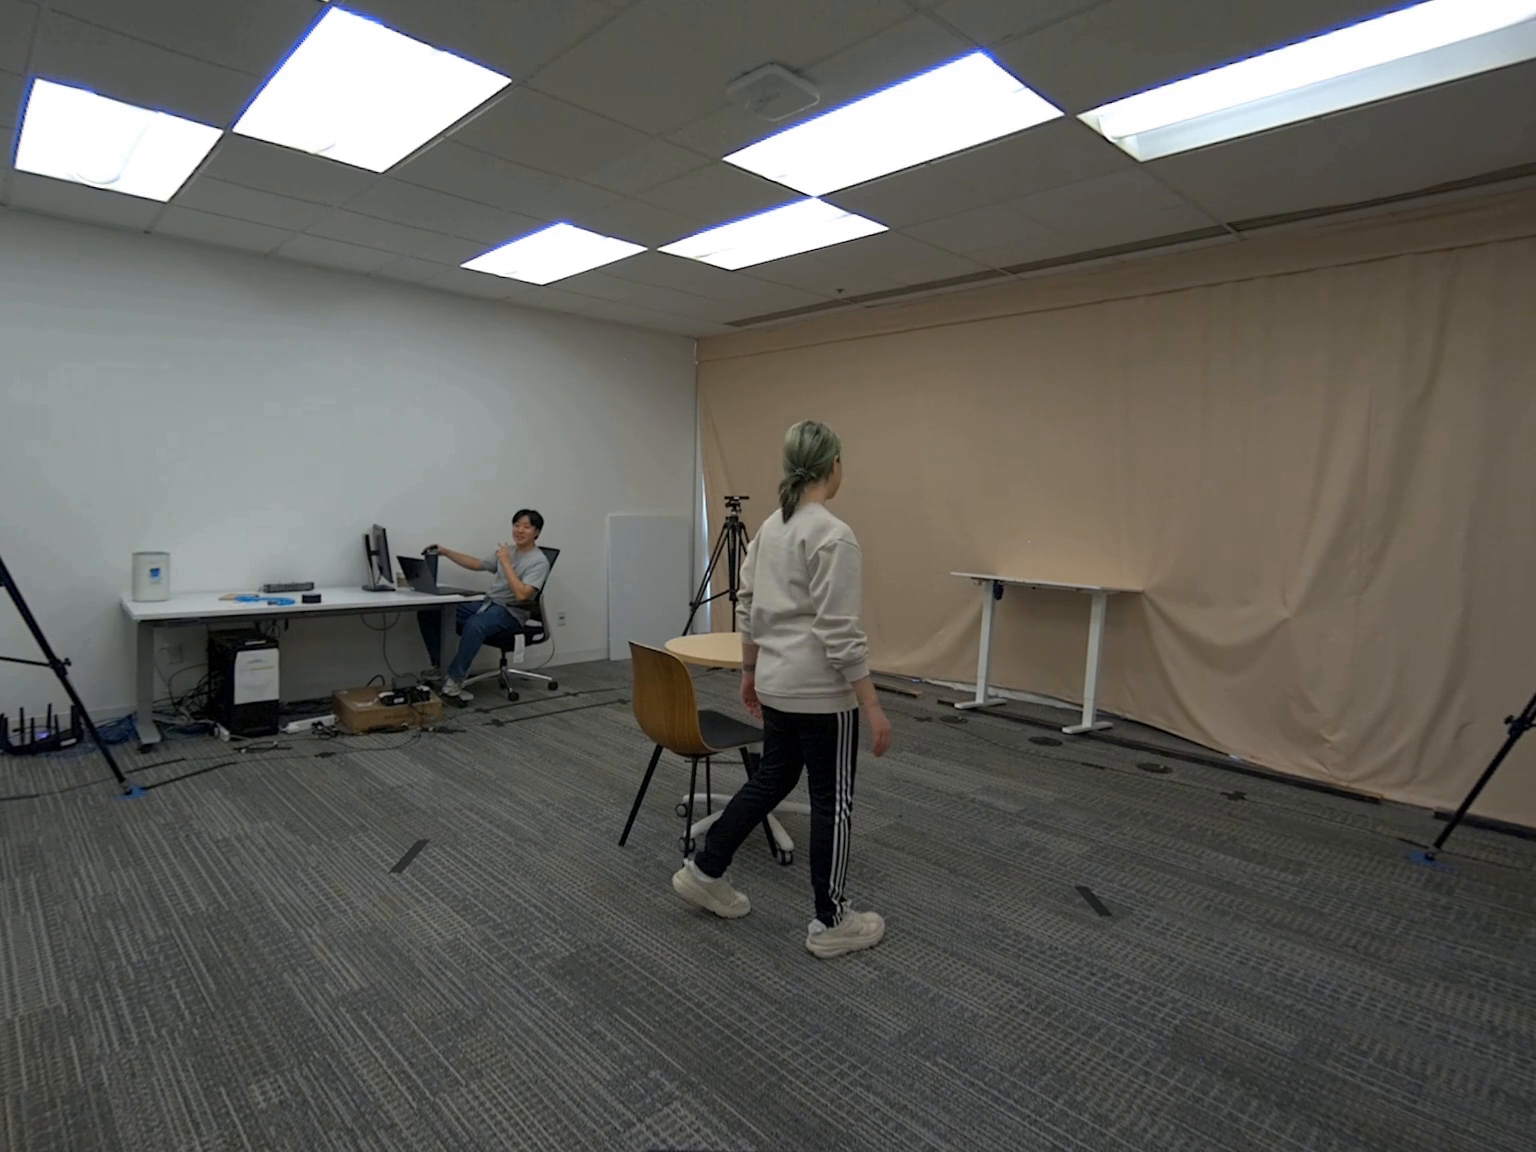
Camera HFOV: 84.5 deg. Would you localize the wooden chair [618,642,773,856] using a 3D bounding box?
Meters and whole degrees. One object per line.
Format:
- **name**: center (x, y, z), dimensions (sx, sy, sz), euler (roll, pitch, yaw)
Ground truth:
- **wooden chair**: center (-0.265, 0.658, 3.276), dimensions (0.512, 0.874, 0.490), euler (-6, 7, -38)
